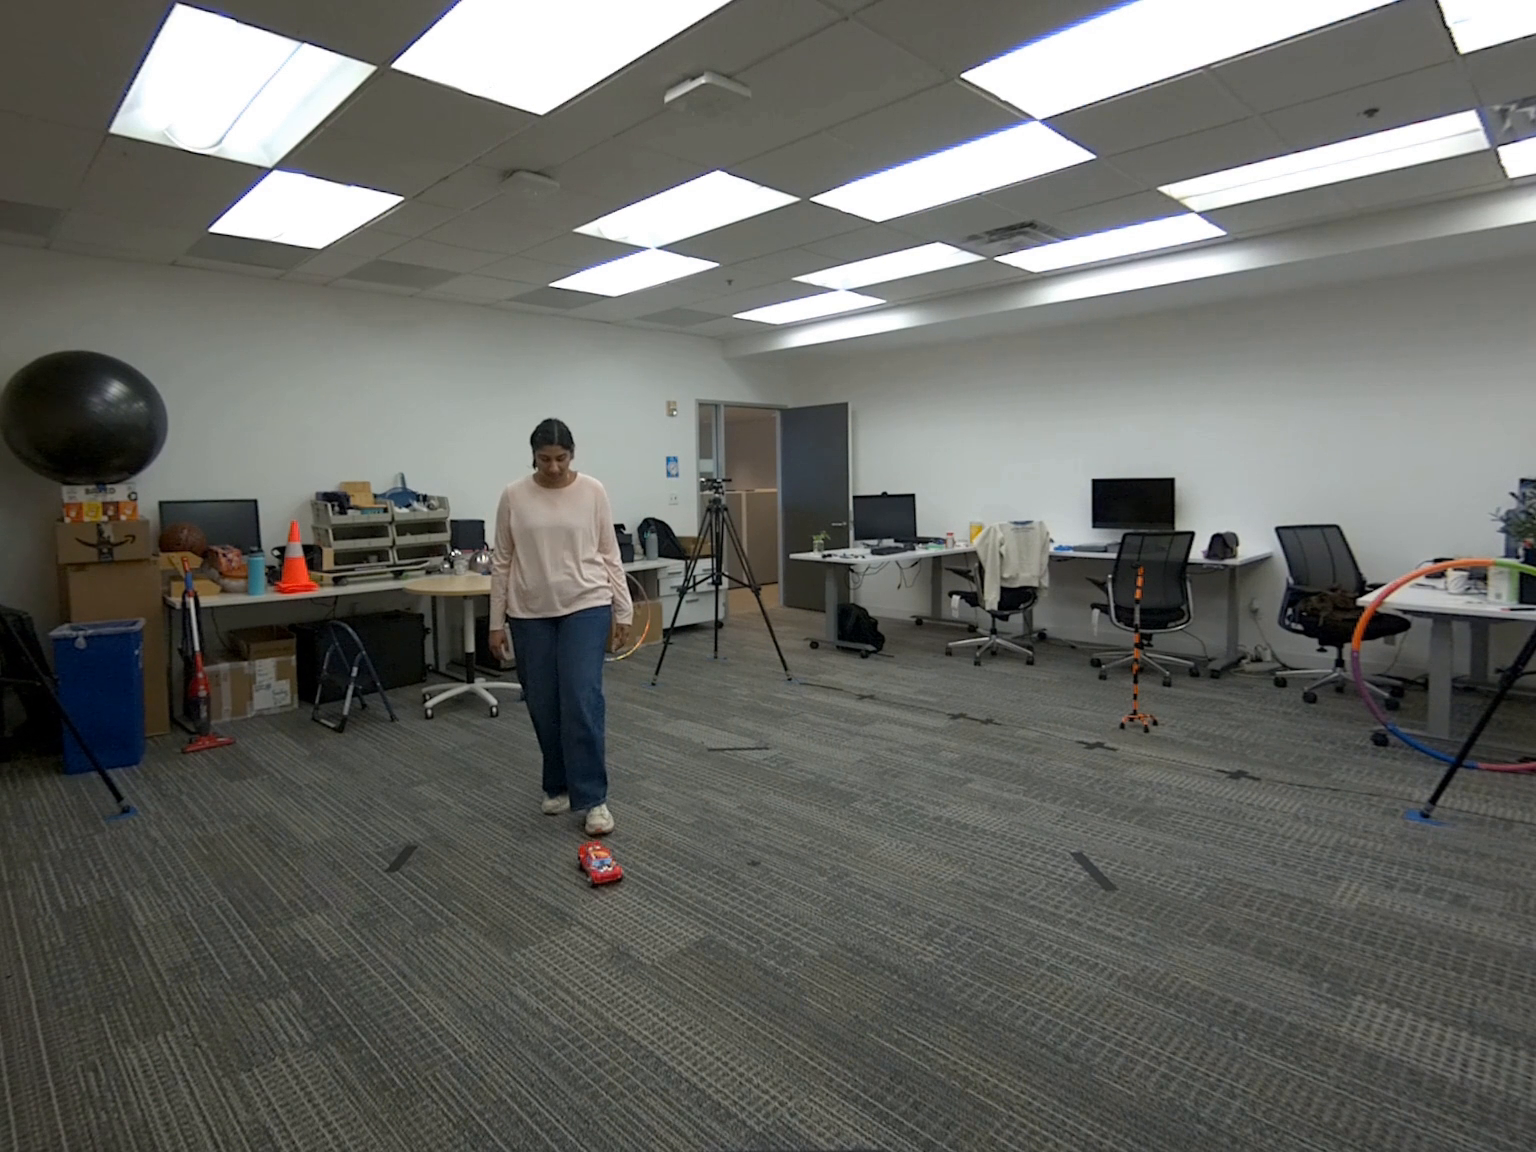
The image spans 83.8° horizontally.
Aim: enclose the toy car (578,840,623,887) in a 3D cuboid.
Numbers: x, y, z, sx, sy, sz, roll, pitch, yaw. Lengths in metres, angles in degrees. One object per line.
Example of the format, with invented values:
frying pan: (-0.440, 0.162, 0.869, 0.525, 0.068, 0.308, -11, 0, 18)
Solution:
toy car: (-0.605, 1.029, 3.053, 0.128, 0.082, 0.263, -5, 18, -25)
